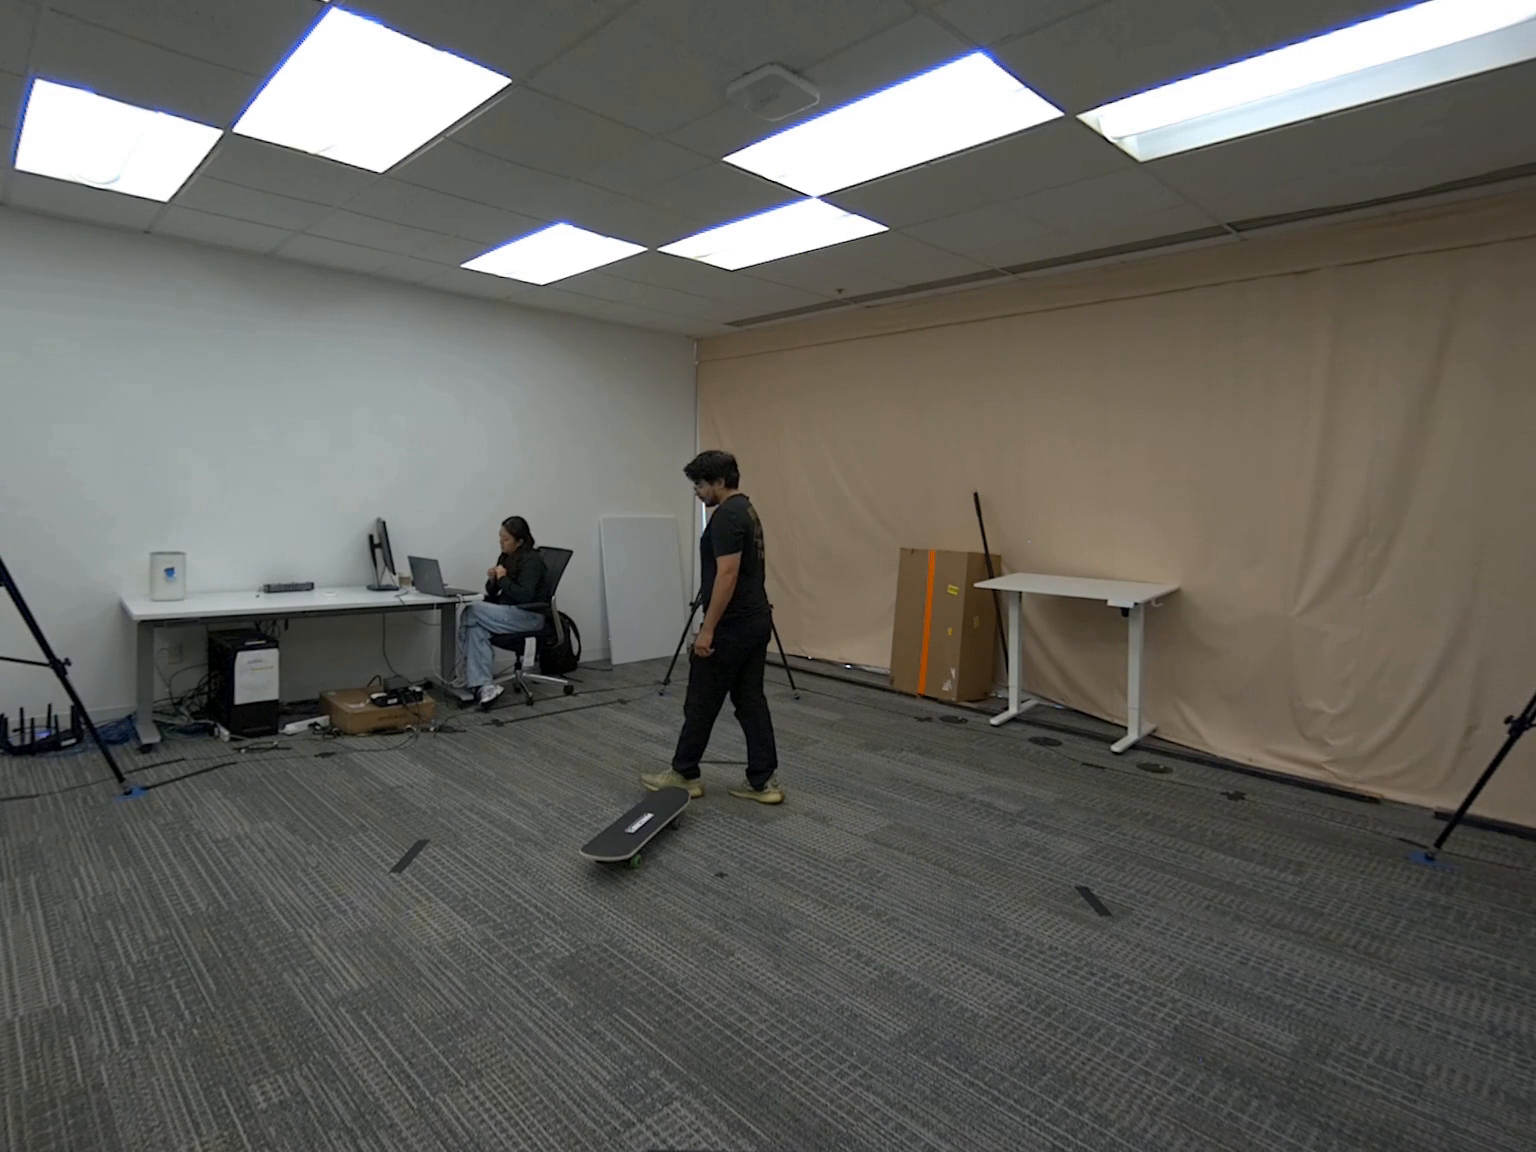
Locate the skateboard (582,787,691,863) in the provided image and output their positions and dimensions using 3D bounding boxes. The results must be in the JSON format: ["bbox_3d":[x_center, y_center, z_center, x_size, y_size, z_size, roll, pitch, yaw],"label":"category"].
[{"bbox_3d":[-0.519,1.014,3.357,0.196,0.110,0.776,4,5,16],"label":"skateboard"}]
